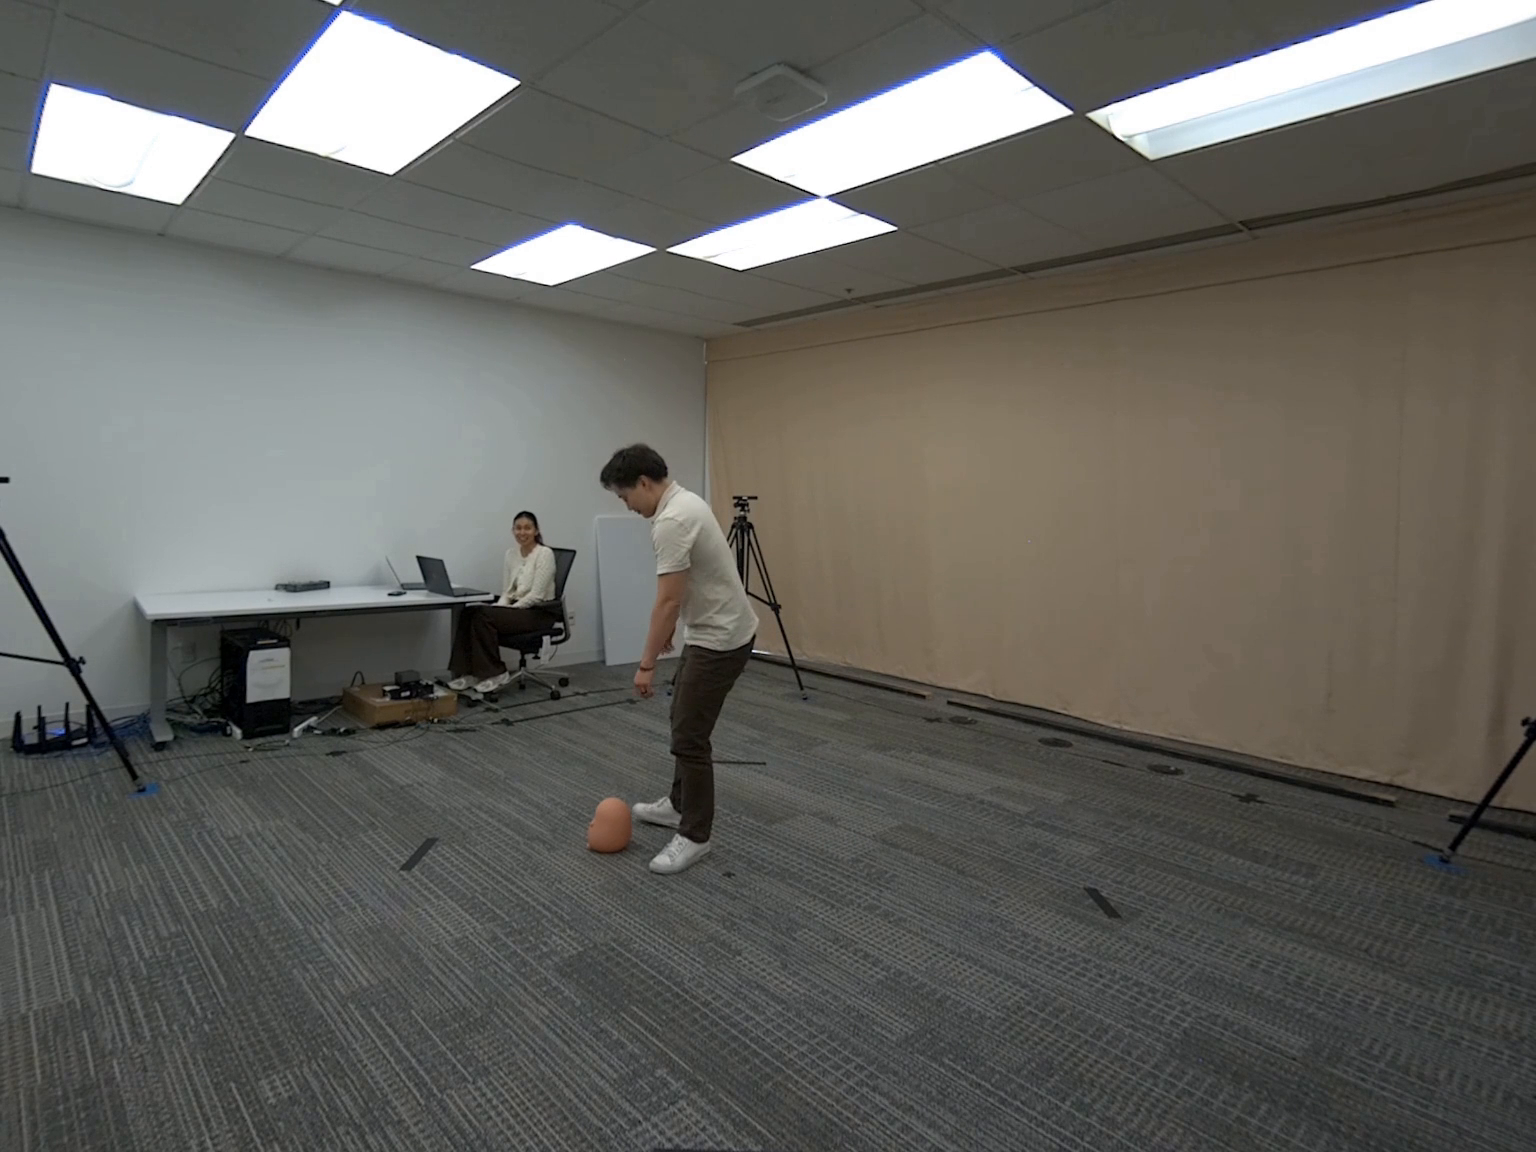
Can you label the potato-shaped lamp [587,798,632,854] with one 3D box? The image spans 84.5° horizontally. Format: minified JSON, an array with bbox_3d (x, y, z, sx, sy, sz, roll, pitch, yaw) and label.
[{"bbox_3d":[-0.621,0.968,3.314,0.175,0.197,0.162,6,6,23],"label":"potato-shaped lamp"}]
